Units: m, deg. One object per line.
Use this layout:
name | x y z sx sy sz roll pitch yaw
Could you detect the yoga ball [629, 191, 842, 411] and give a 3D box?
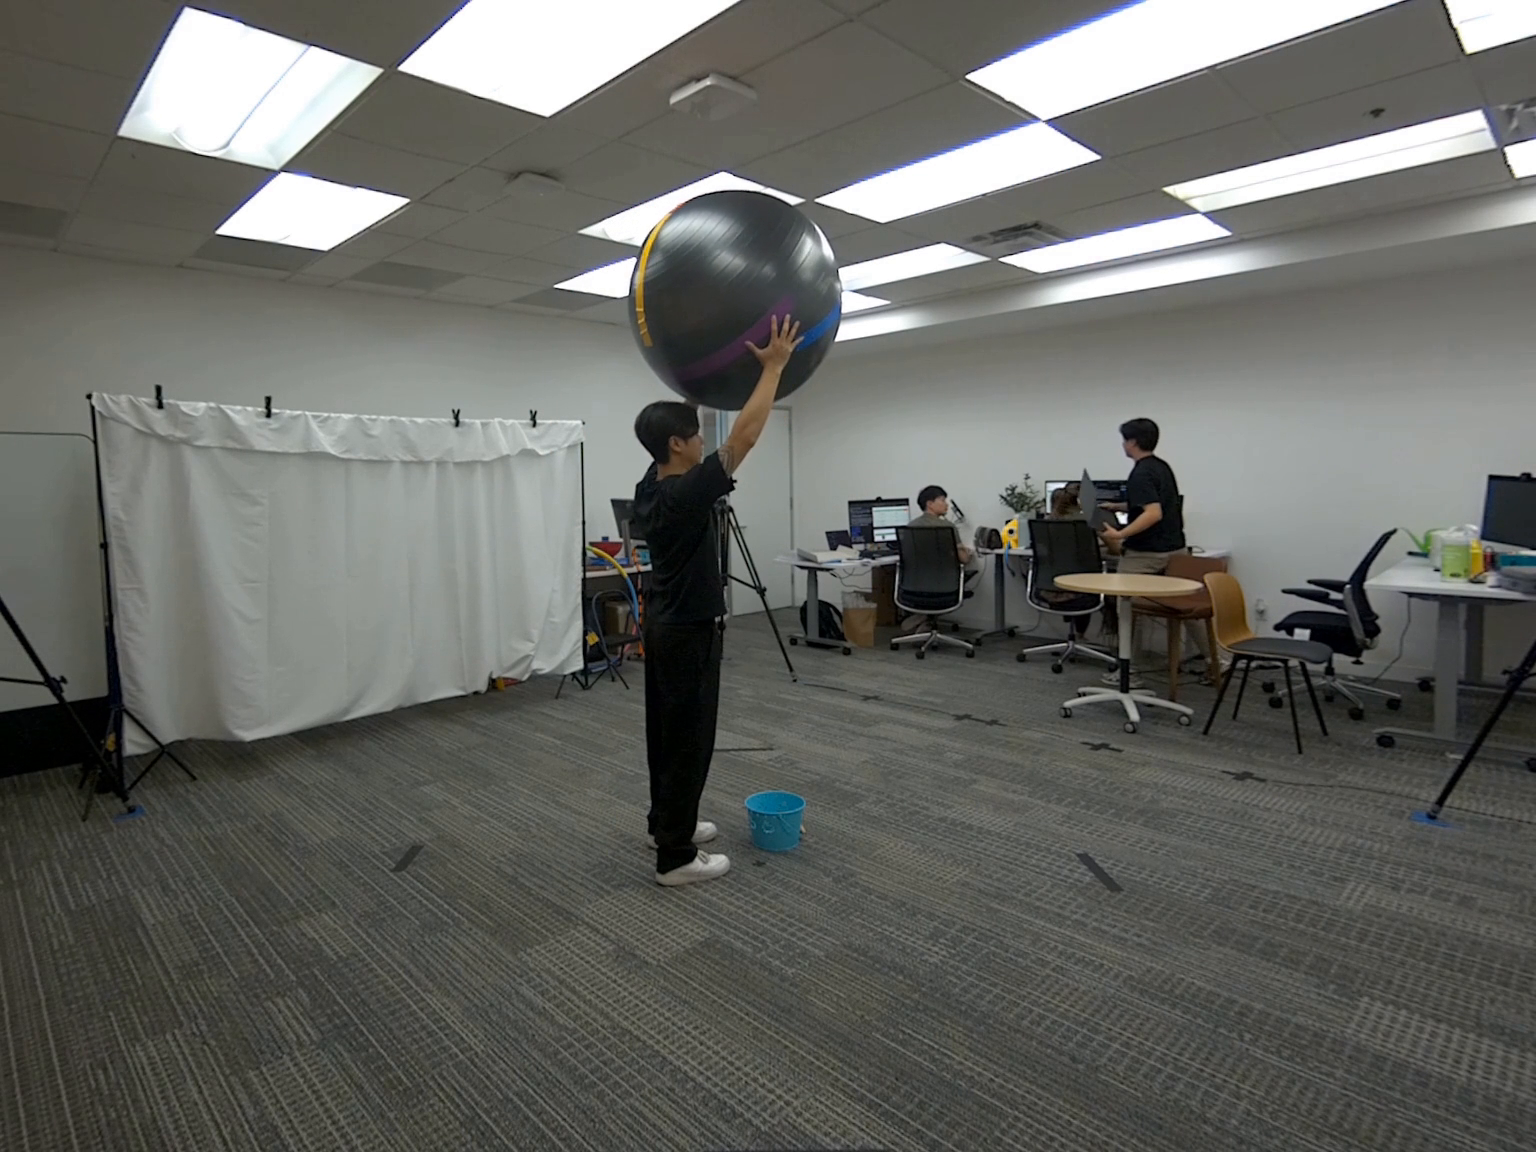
yoga ball | -0.117 -0.968 3.041 0.757 0.755 0.762 -1 5 -2
